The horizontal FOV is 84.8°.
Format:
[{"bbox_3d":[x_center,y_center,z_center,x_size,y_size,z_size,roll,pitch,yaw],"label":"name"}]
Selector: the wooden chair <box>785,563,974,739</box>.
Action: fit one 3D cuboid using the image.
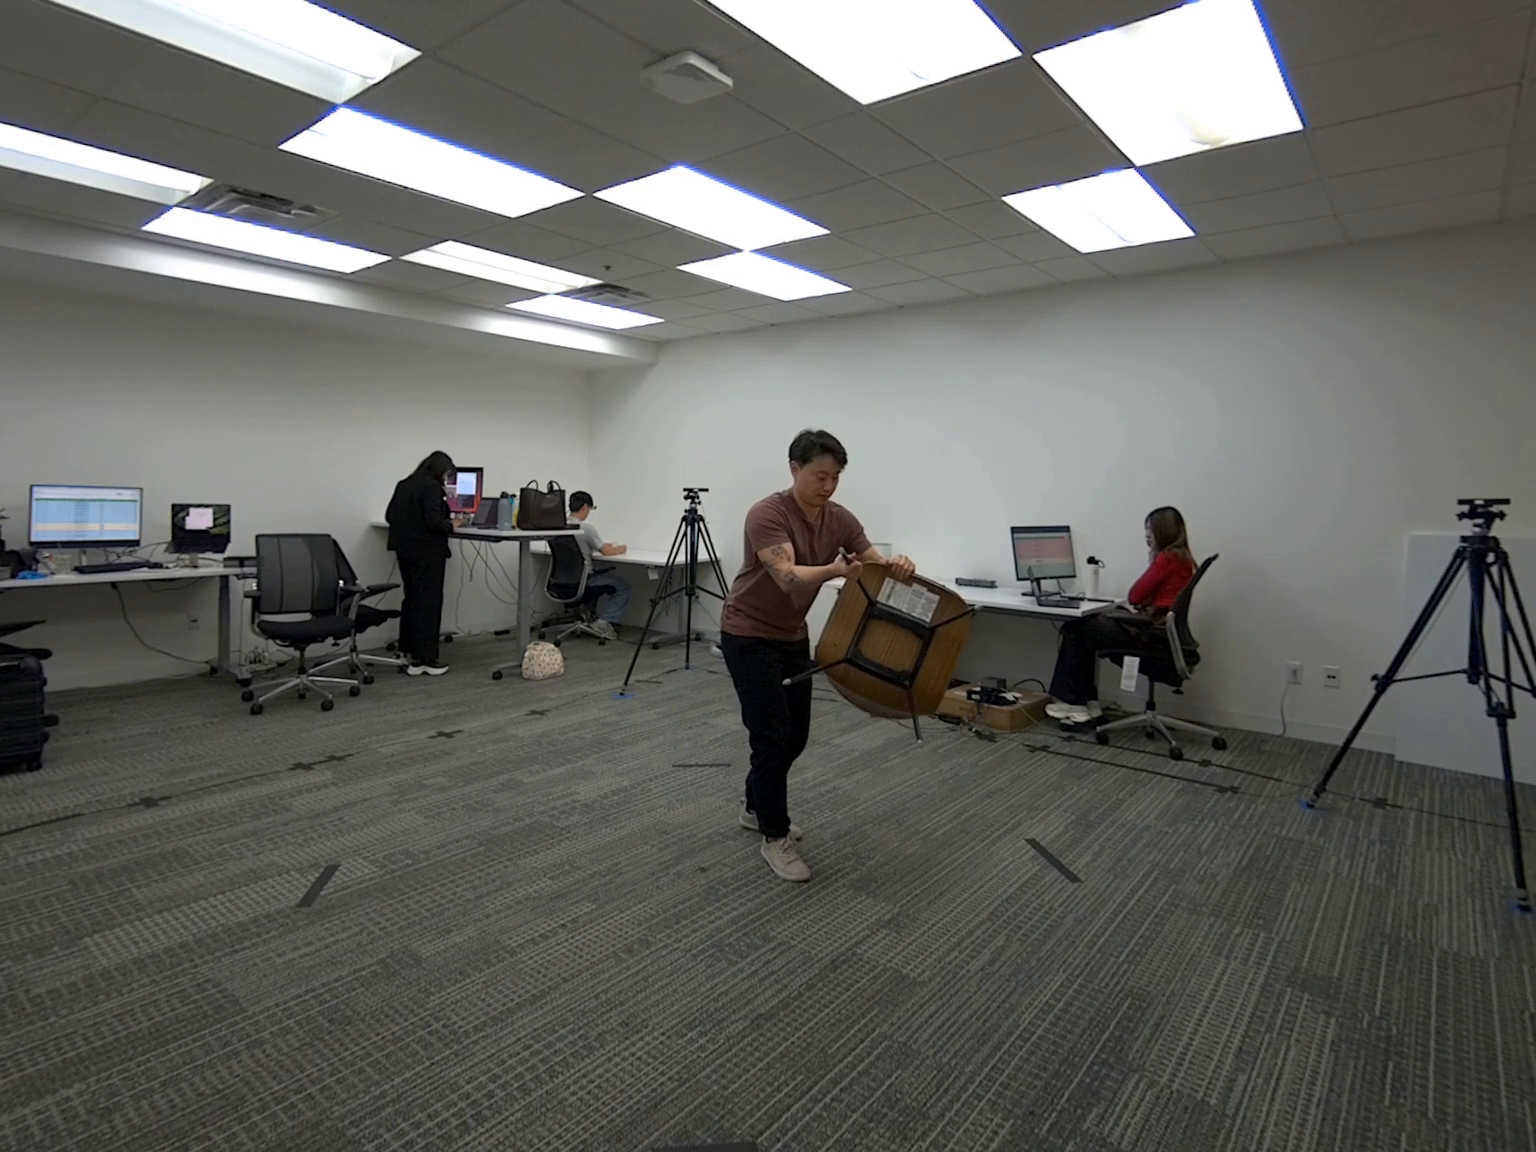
[{"bbox_3d":[0.419,0.235,2.965,0.487,0.524,0.859,22,-4,13],"label":"wooden chair"}]
